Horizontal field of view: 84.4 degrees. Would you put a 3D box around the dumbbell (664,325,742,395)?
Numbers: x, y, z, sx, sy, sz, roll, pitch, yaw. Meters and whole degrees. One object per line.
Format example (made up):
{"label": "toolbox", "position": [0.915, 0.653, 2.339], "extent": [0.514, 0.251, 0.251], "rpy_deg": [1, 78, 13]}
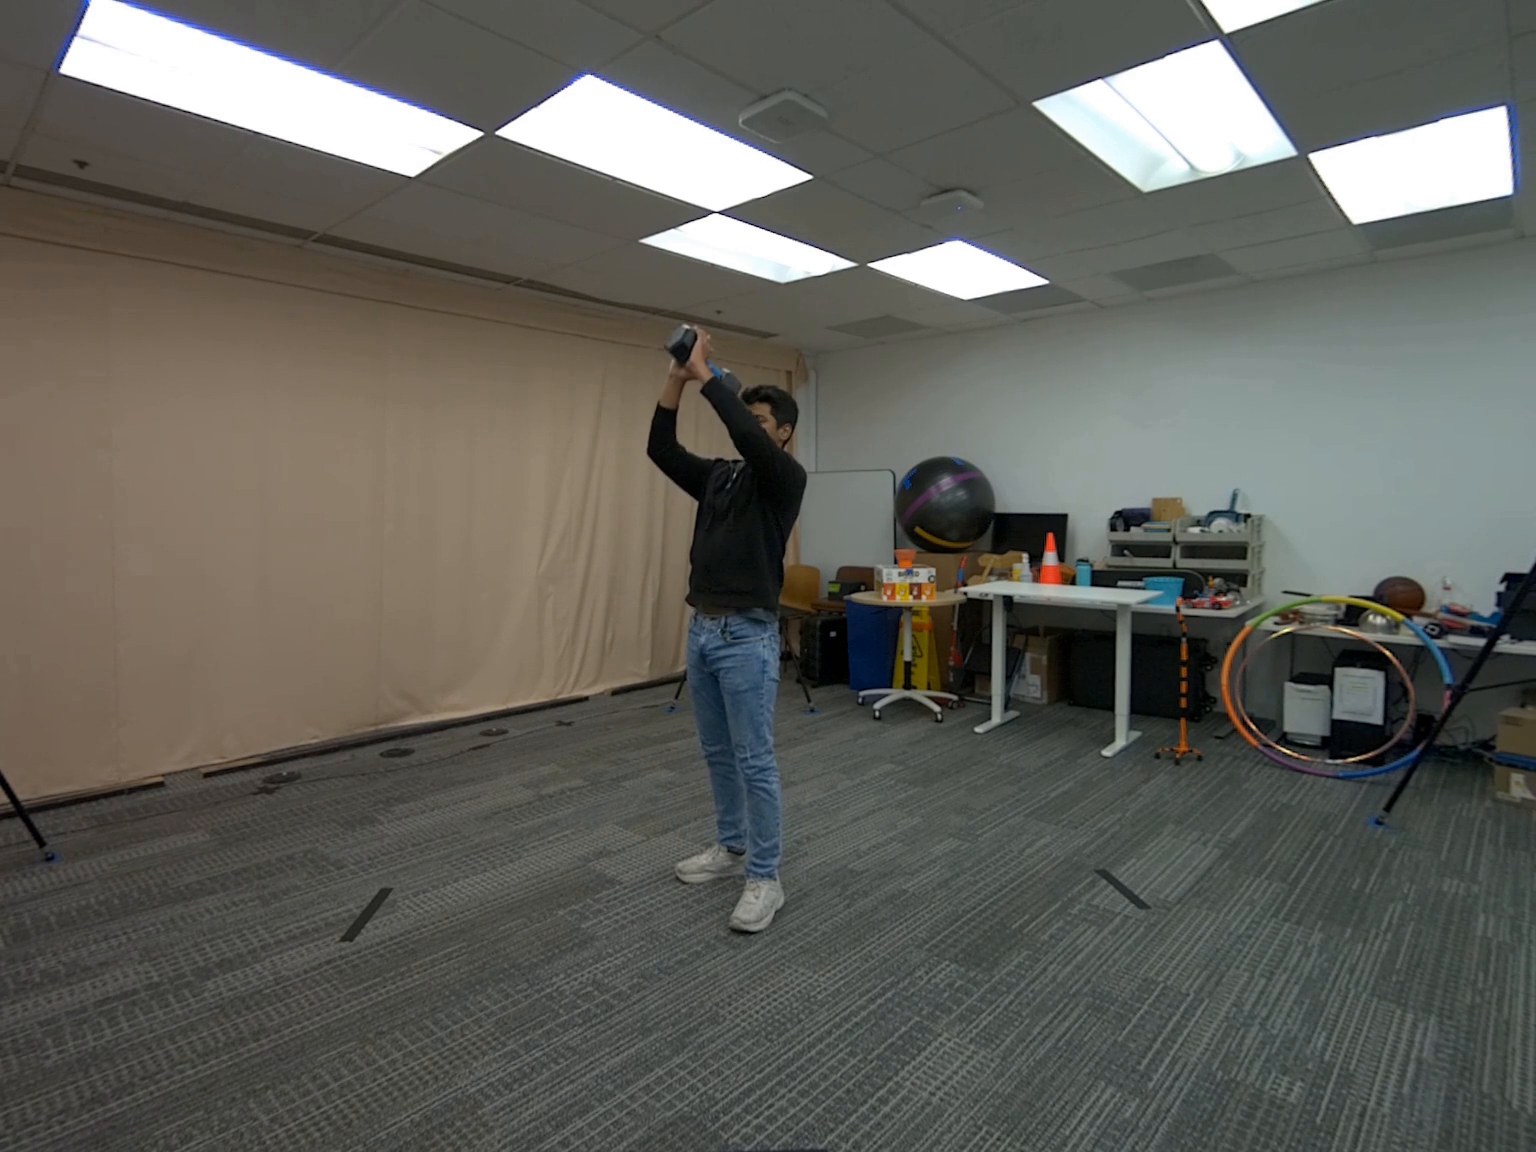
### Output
{"label": "dumbbell", "position": [-0.211, -0.702, 2.849], "extent": [0.284, 0.109, 0.127], "rpy_deg": [41, -1, -33]}
